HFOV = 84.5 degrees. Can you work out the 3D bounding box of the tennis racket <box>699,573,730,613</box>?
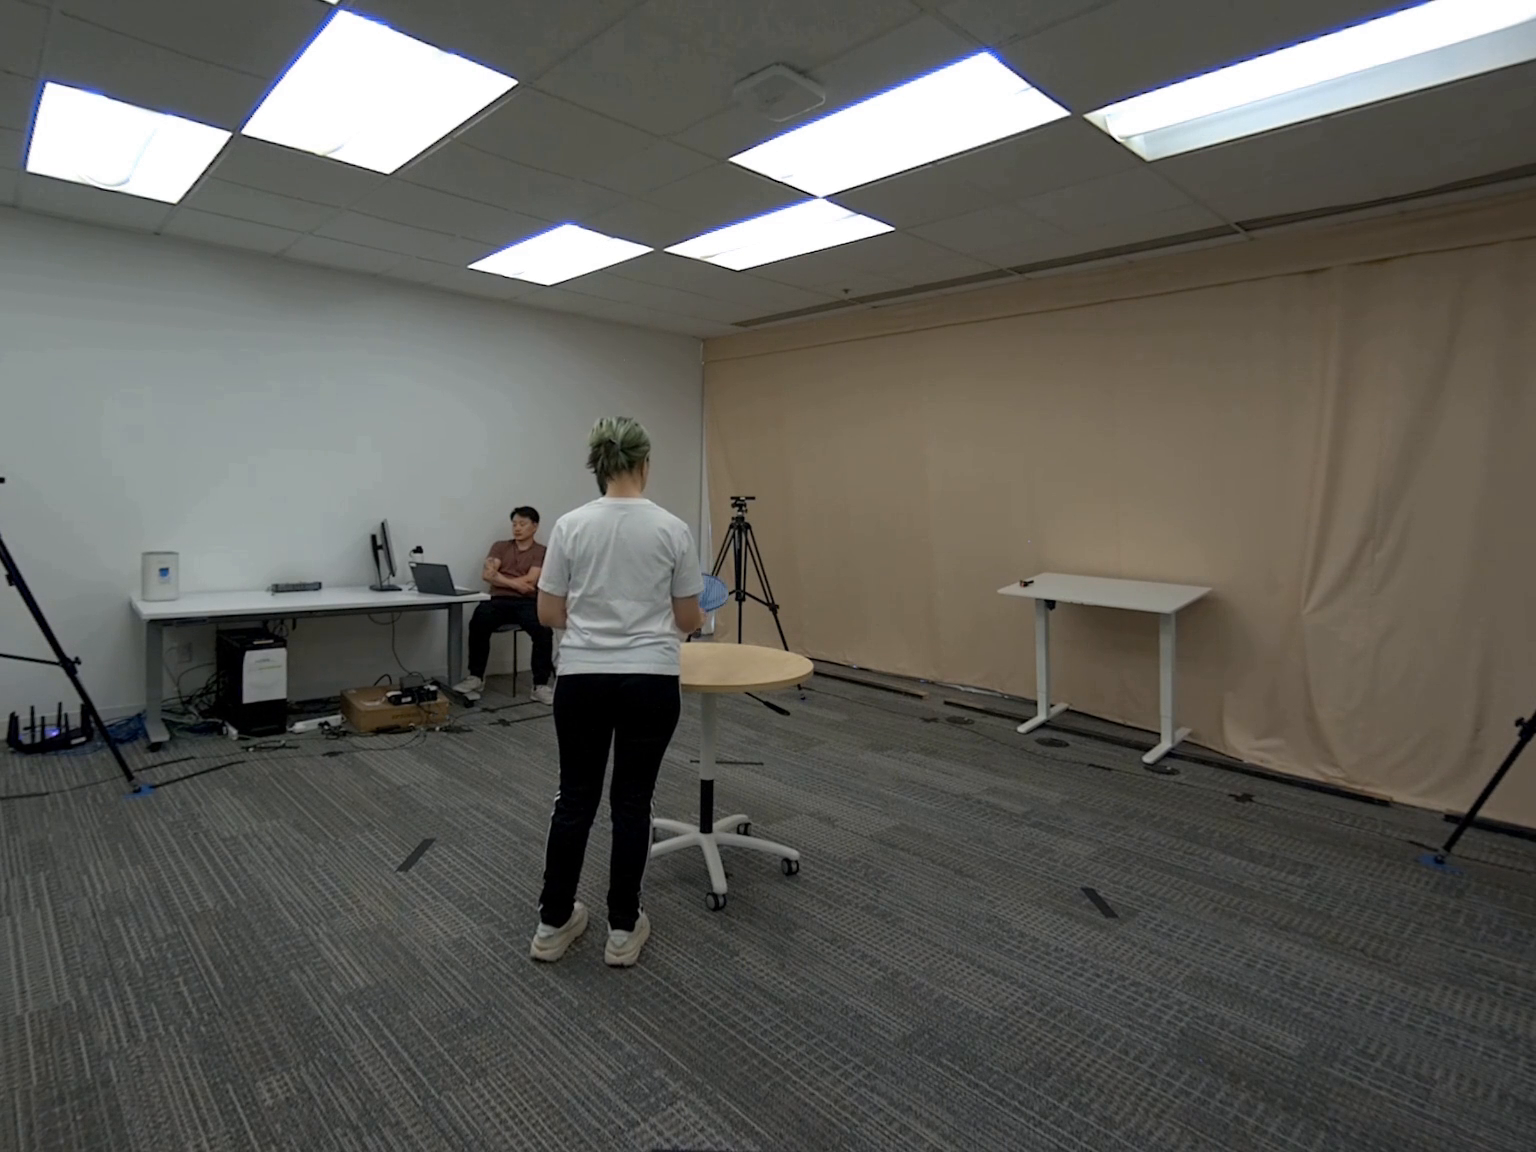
[{"bbox_3d":[-0.264,0.099,3.048,0.214,0.031,0.438,11,28,2],"label":"tennis racket"}]
